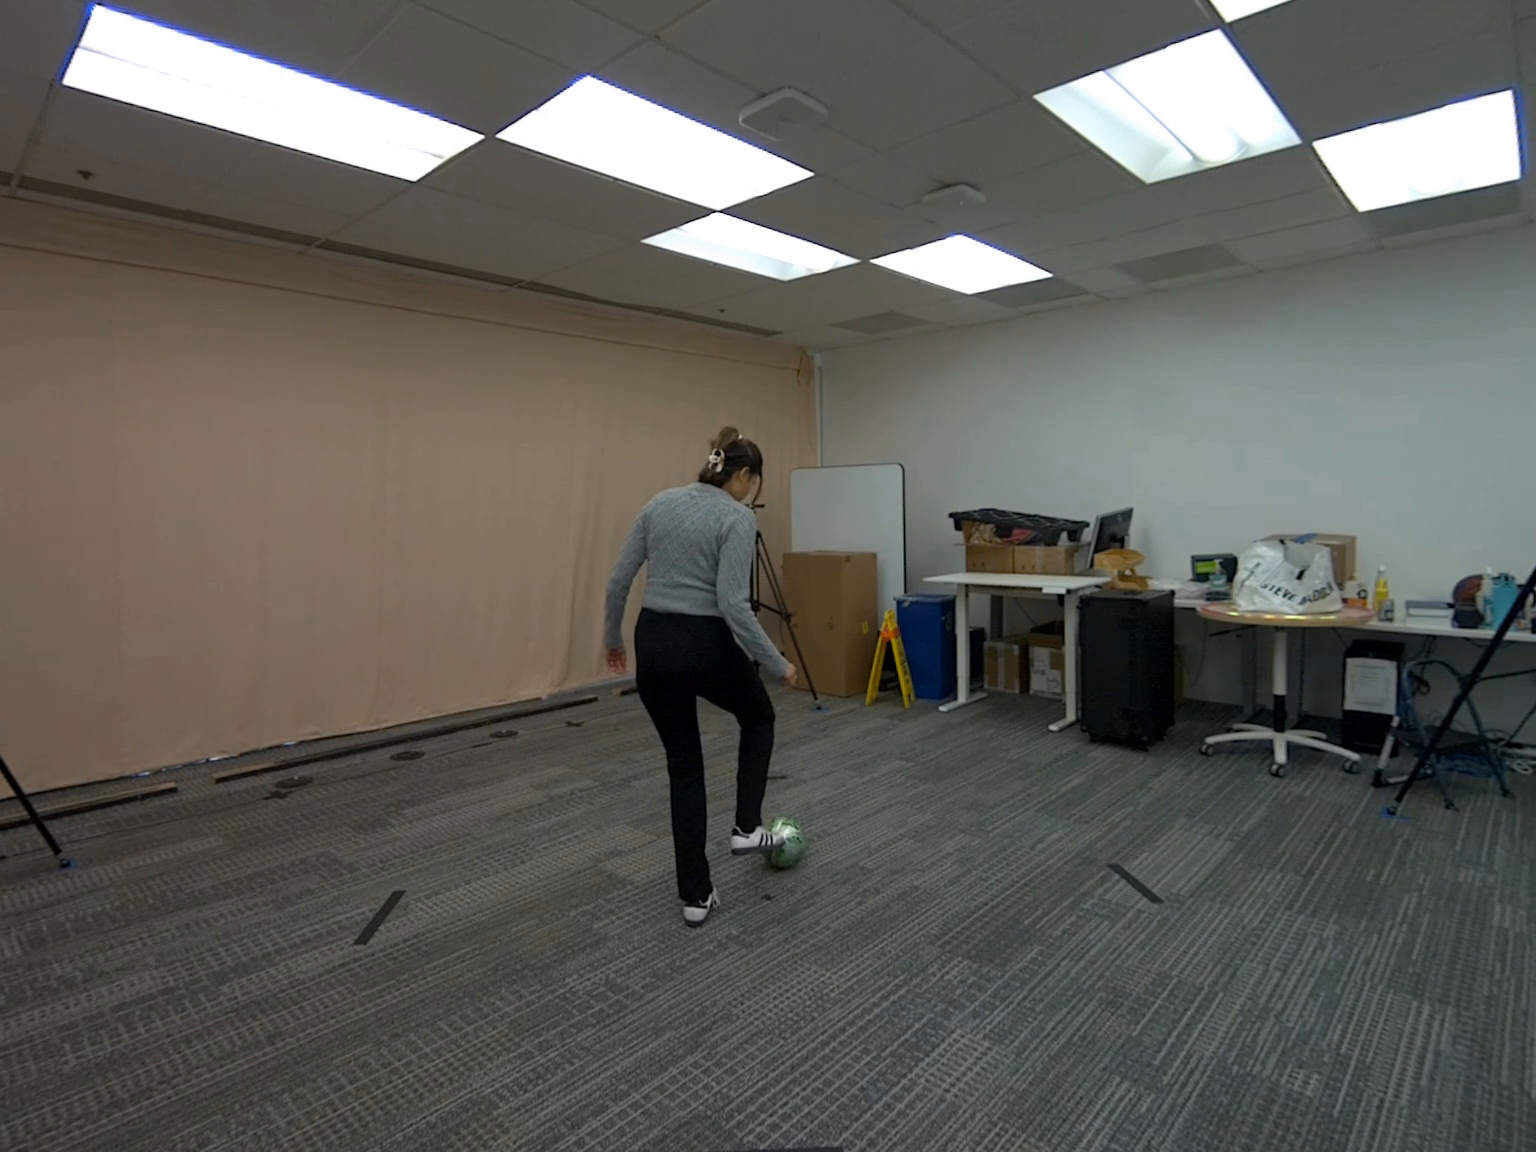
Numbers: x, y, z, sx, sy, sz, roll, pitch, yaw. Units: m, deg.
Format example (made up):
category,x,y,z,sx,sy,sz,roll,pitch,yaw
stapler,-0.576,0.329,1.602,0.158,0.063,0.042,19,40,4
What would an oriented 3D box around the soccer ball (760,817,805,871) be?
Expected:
category,x,y,z,sx,sy,sz,roll,pitch,yaw
soccer ball,0.056,1.020,3.242,0.187,0.187,0.188,-1,4,-2
